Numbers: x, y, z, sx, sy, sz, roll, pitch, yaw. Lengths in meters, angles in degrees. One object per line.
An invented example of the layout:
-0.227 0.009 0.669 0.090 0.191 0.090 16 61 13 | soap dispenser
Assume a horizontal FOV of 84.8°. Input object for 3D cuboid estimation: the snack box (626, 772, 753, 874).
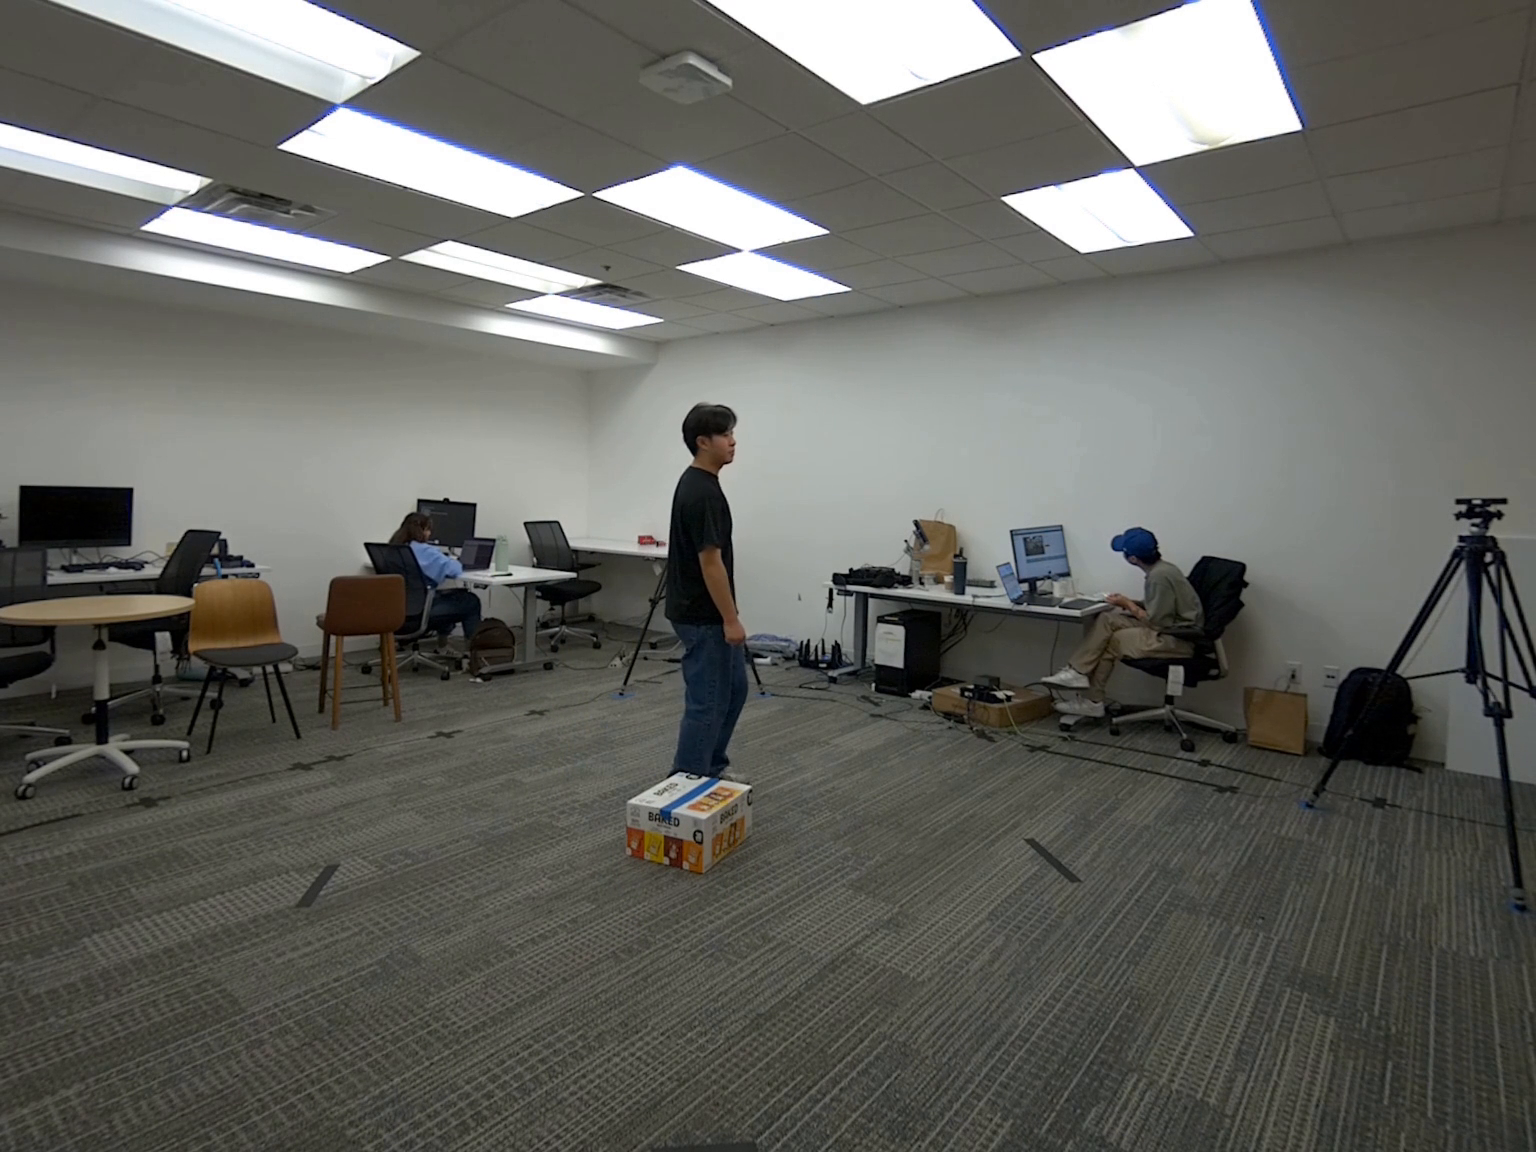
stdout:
-0.312 0.945 3.317 0.349 0.205 0.396 3 6 26 | snack box
